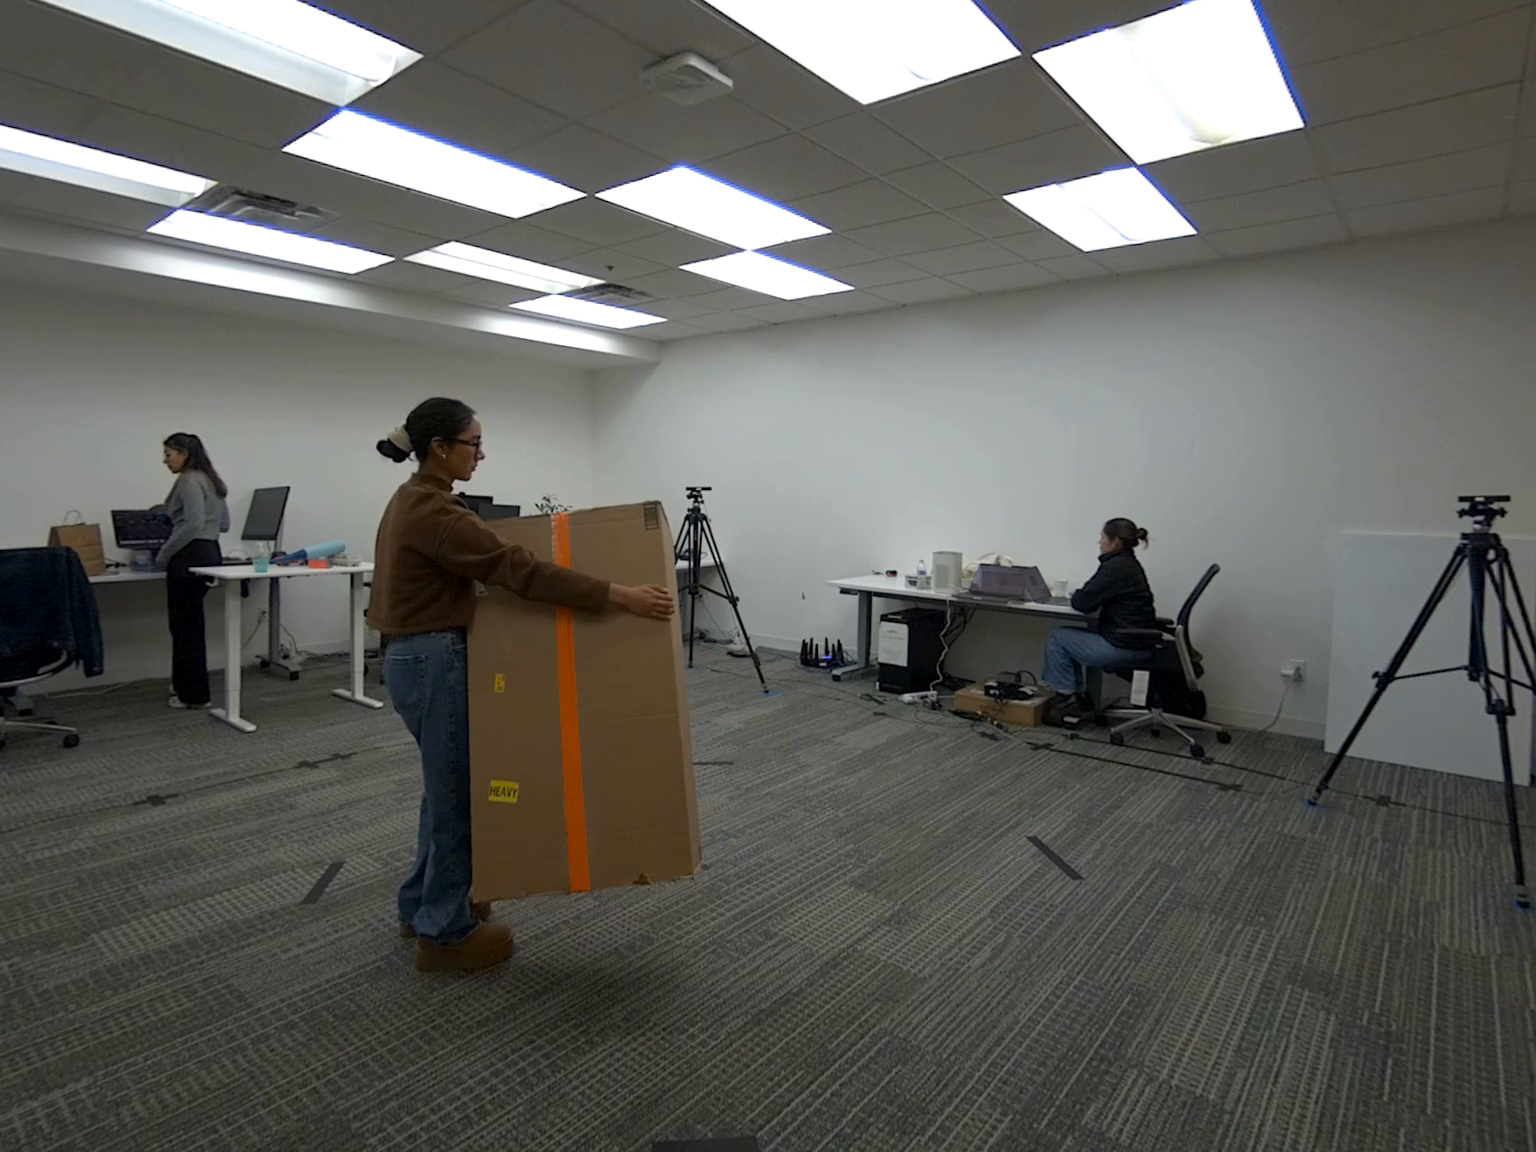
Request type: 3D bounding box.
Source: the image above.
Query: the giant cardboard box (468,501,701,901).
[{"bbox_3d":[-0.554,0.365,2.498,0.577,1.043,0.420,-6,-15,-2],"label":"giant cardboard box"}]
